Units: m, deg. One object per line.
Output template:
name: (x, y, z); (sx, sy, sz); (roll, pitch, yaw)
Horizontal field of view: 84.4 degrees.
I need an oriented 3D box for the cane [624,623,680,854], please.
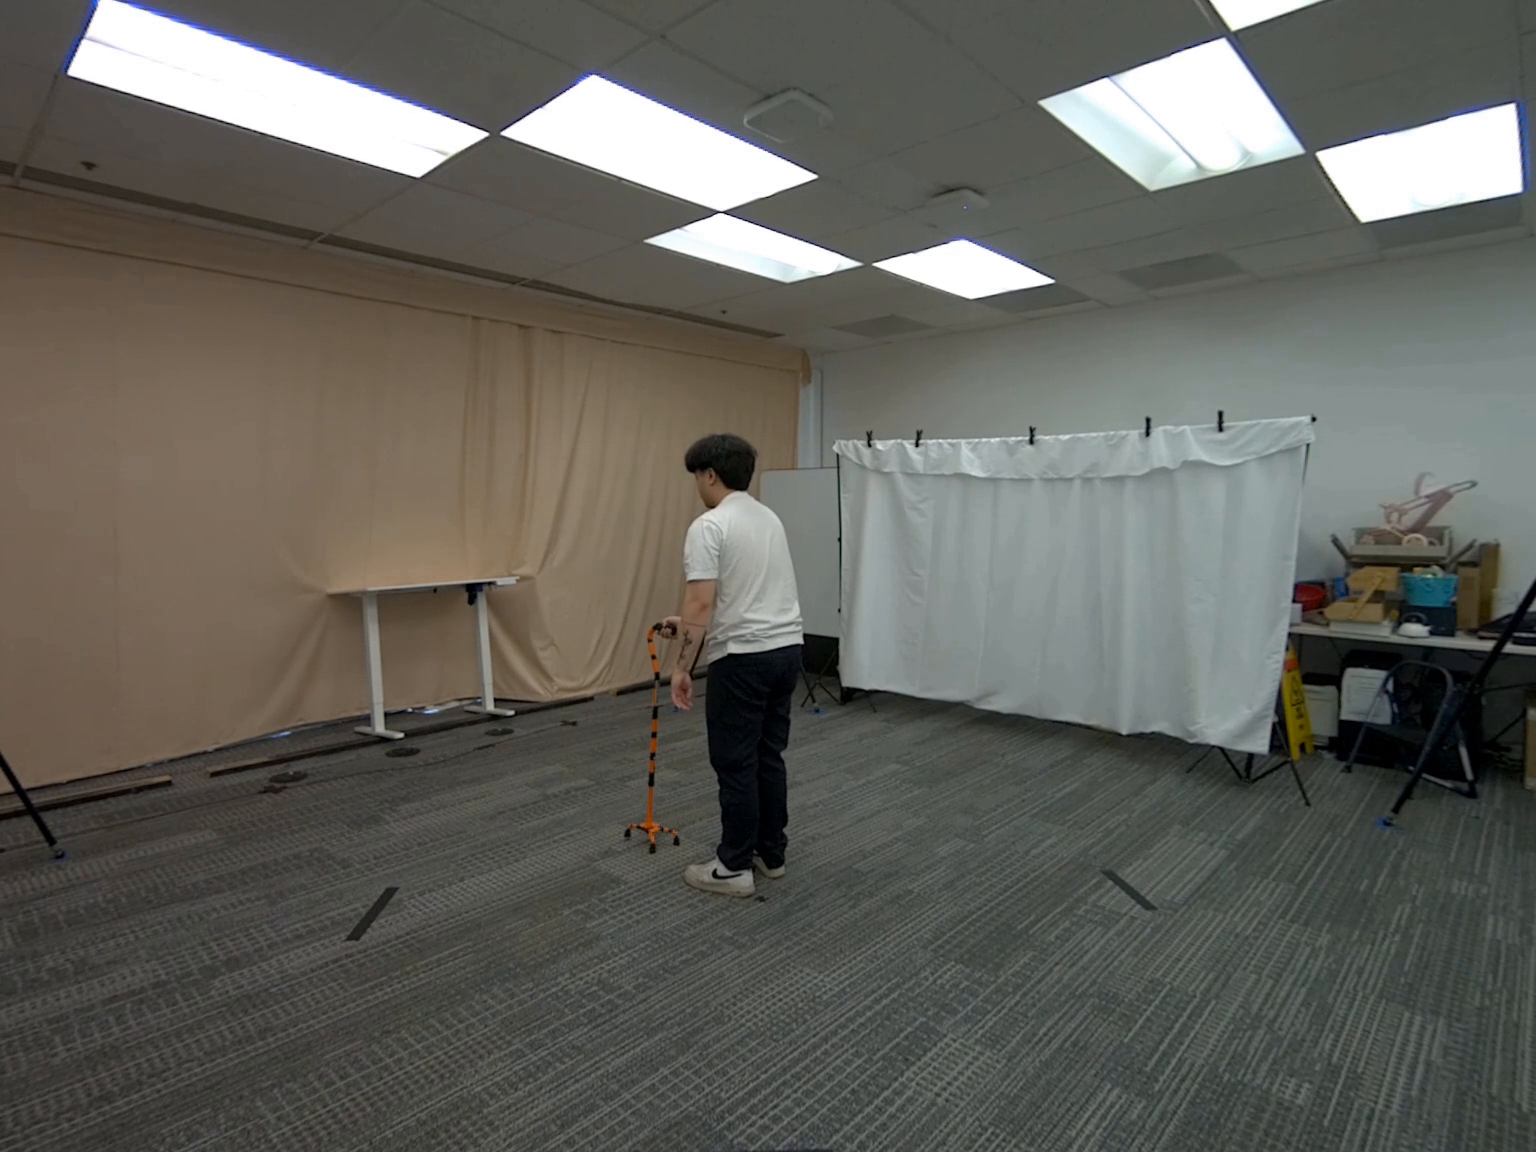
cane: (-0.457, 0.649, 3.463); (0.147, 0.906, 0.213); (0, 5, -44)
